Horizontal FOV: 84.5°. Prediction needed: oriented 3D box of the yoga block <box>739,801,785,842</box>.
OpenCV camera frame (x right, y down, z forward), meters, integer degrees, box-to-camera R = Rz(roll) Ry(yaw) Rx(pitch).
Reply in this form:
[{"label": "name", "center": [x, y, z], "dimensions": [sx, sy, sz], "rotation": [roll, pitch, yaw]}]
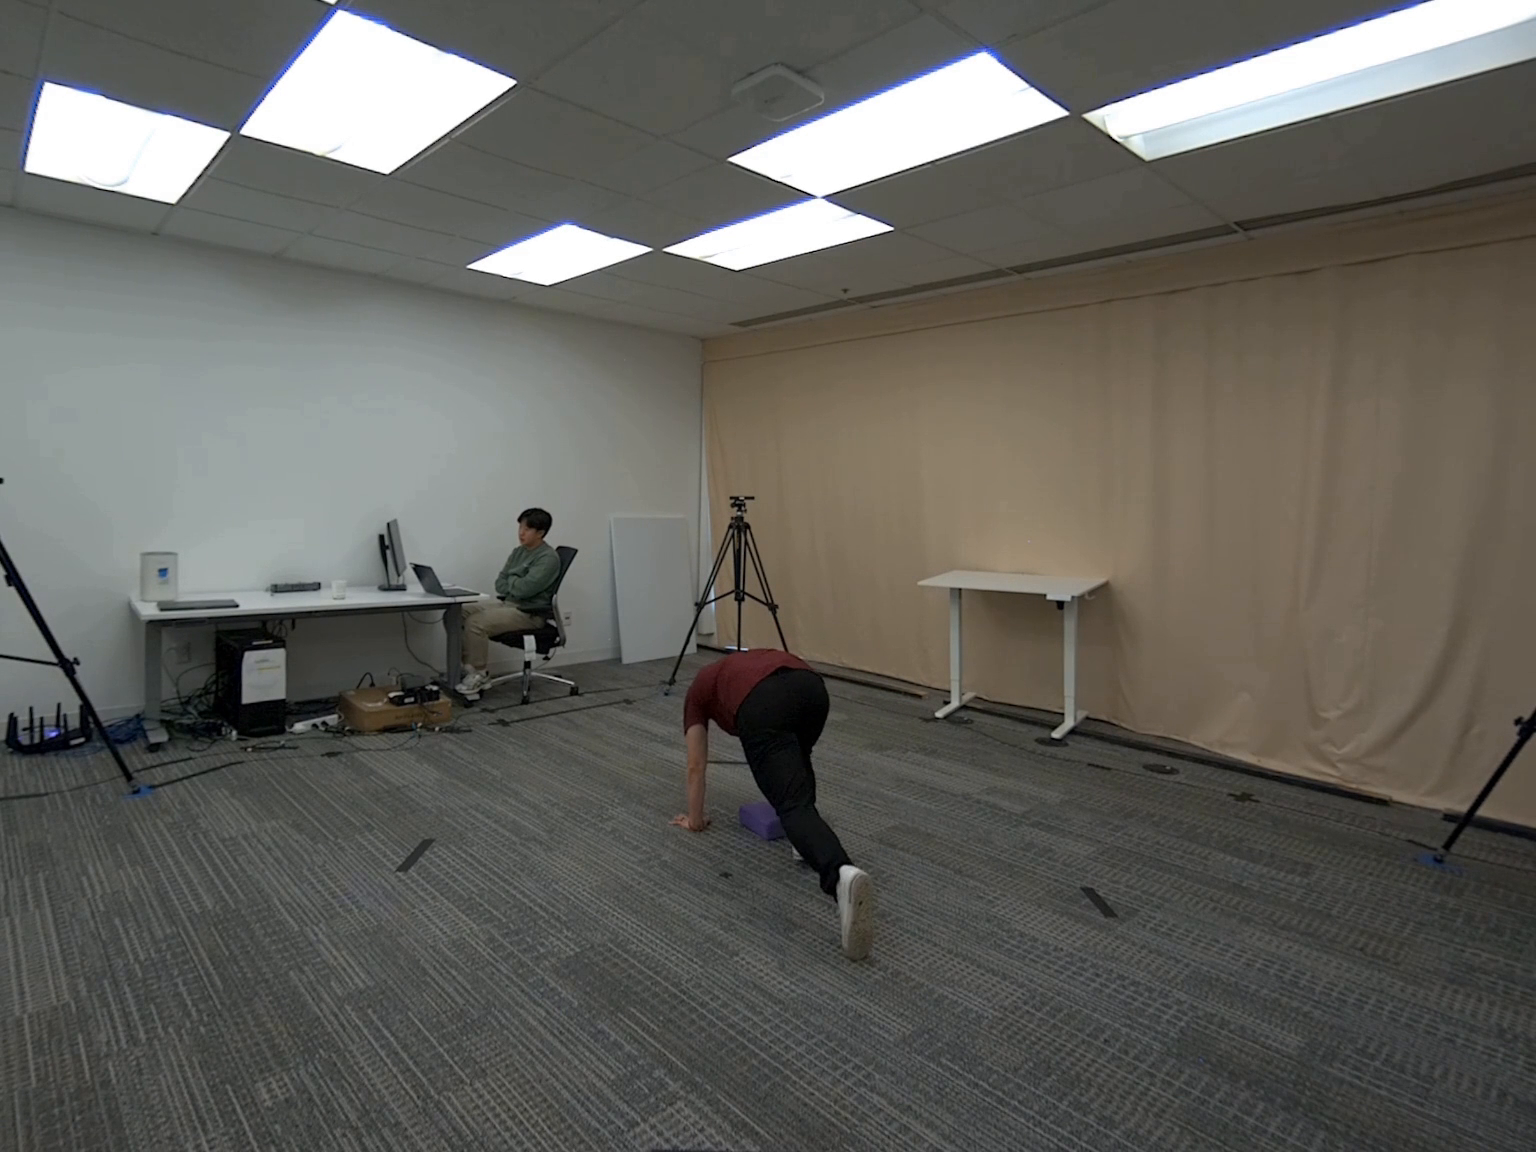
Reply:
[{"label": "yoga block", "center": [-0.009, 1.023, 3.548], "dimensions": [0.146, 0.076, 0.235], "rotation": [-2, 4, -33]}]
